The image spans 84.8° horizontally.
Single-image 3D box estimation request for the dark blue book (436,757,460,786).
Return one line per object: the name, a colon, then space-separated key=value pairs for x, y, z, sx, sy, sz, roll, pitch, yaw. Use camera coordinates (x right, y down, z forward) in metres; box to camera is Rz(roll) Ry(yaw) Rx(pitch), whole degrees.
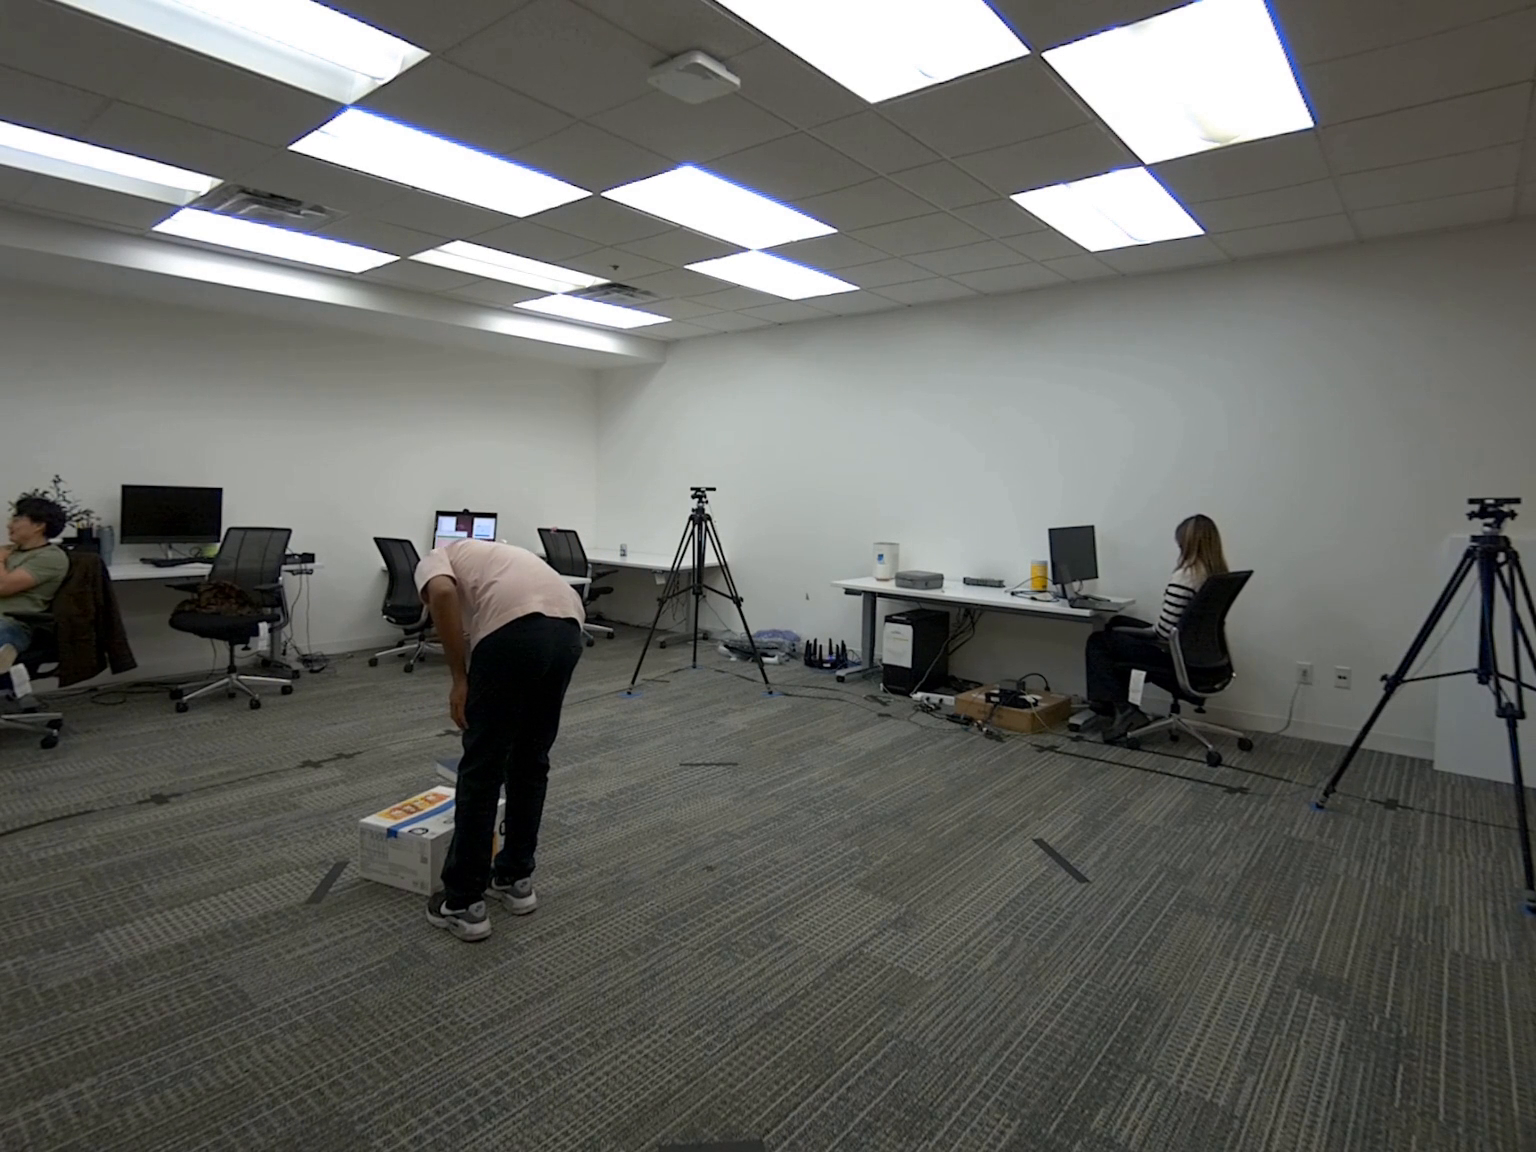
dark blue book: x=-1.096 y=0.691 z=3.079 sx=0.158 sy=0.045 sz=0.252 roll=-2 pitch=1 yaw=-38
